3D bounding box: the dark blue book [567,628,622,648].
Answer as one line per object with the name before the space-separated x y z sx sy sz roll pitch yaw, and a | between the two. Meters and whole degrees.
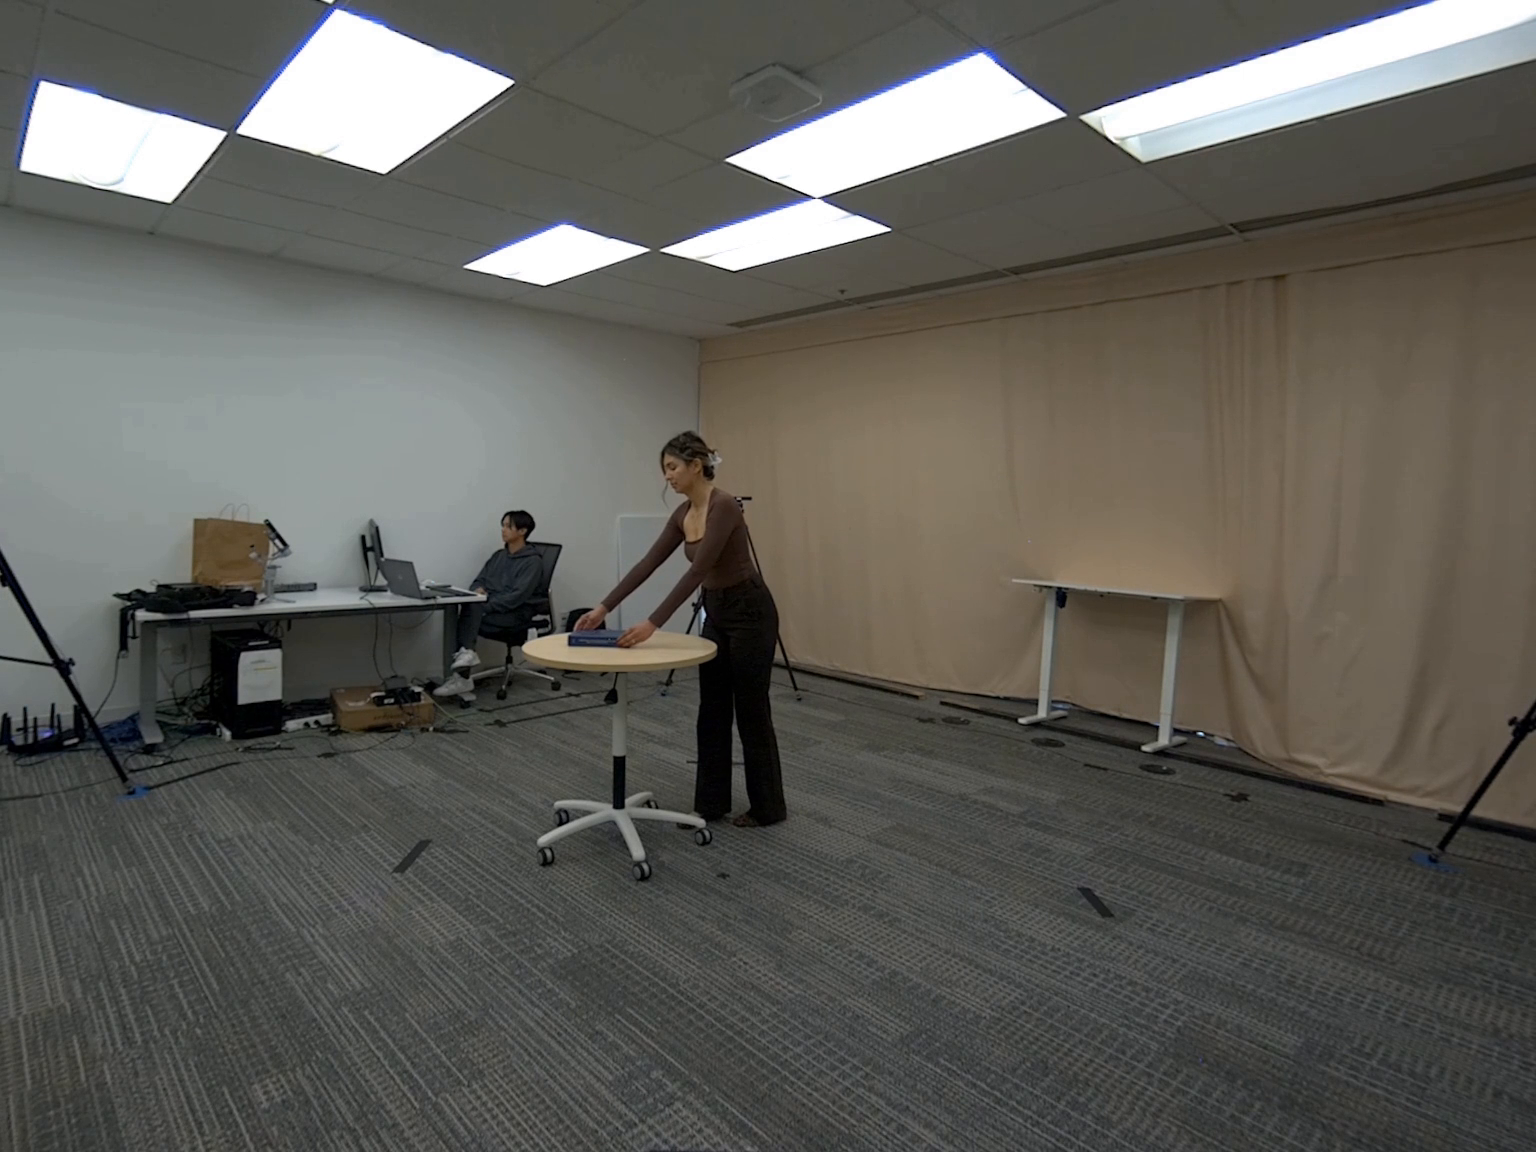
dark blue book | -0.690 0.258 3.369 0.245 0.045 0.164 2 6 1
